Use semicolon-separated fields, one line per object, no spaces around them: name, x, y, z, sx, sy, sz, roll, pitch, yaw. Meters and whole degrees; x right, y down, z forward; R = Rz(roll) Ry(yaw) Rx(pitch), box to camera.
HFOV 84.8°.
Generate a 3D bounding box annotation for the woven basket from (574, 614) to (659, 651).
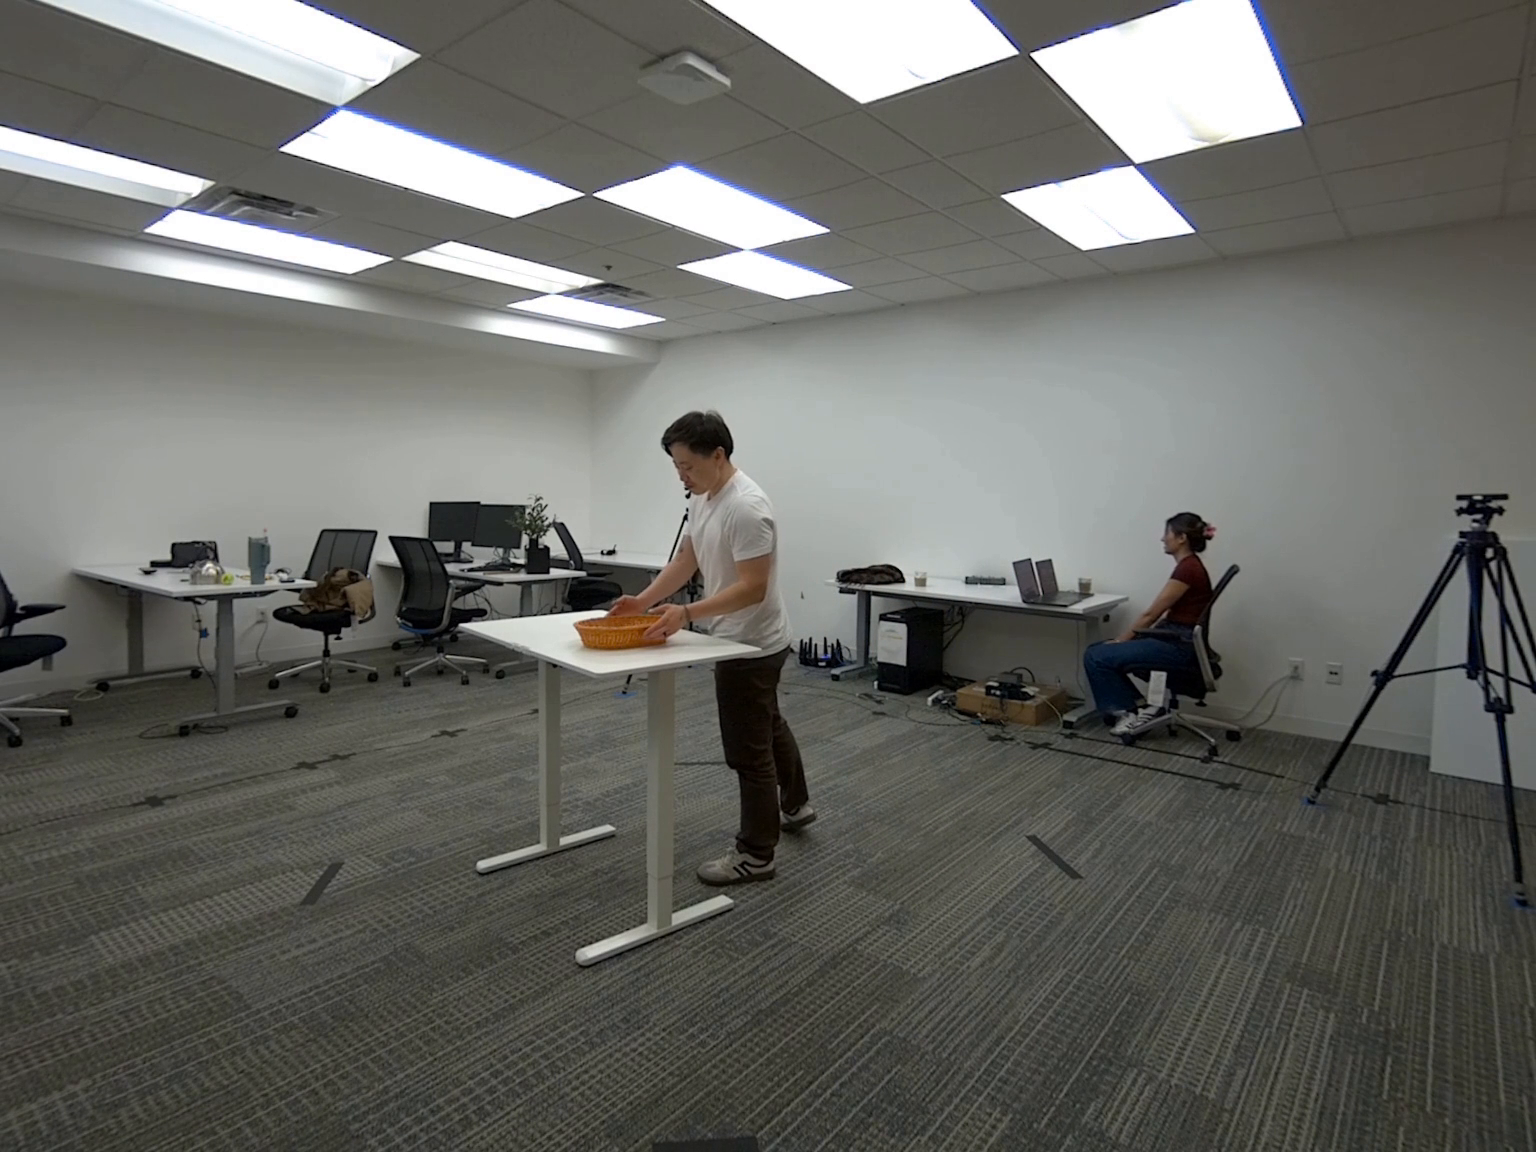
woven basket;-0.484;0.185;2.752;0.341;0.073;0.260;-3;6;-29
